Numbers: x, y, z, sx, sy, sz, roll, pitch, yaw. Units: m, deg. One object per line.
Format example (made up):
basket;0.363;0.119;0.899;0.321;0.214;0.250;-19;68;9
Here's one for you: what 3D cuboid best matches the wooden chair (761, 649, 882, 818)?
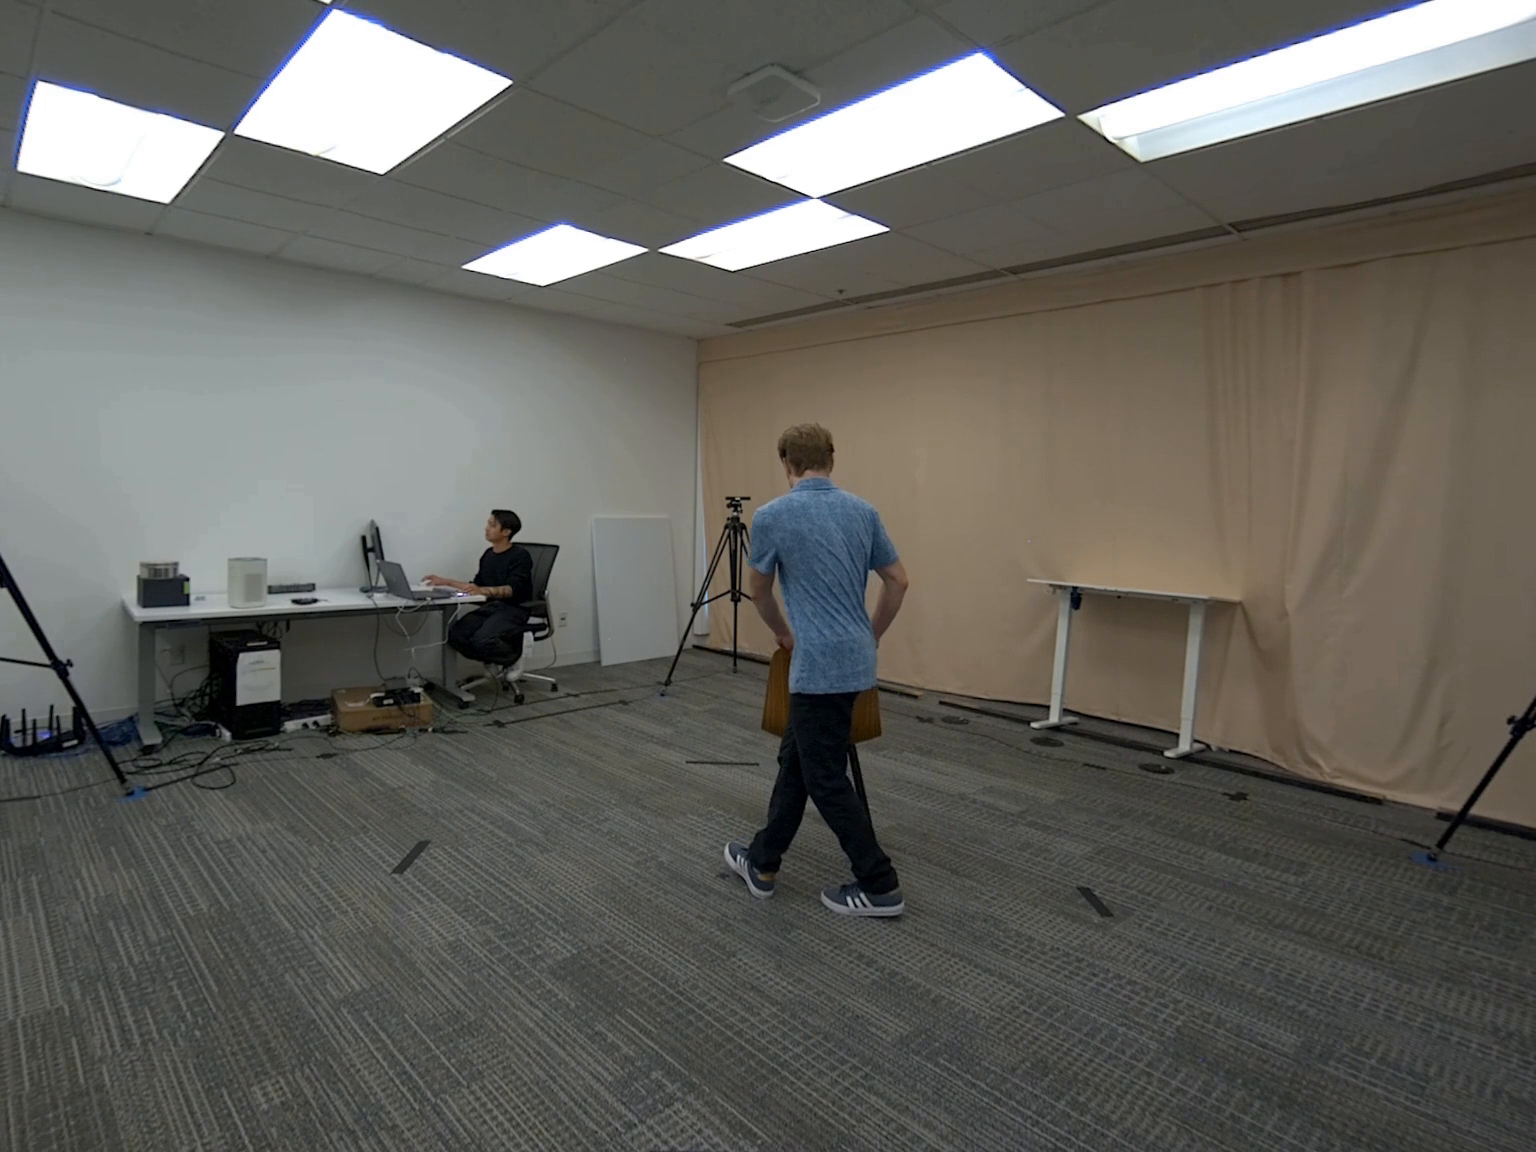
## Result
wooden chair;0.211;0.659;3.426;0.481;0.872;0.523;1;7;6
